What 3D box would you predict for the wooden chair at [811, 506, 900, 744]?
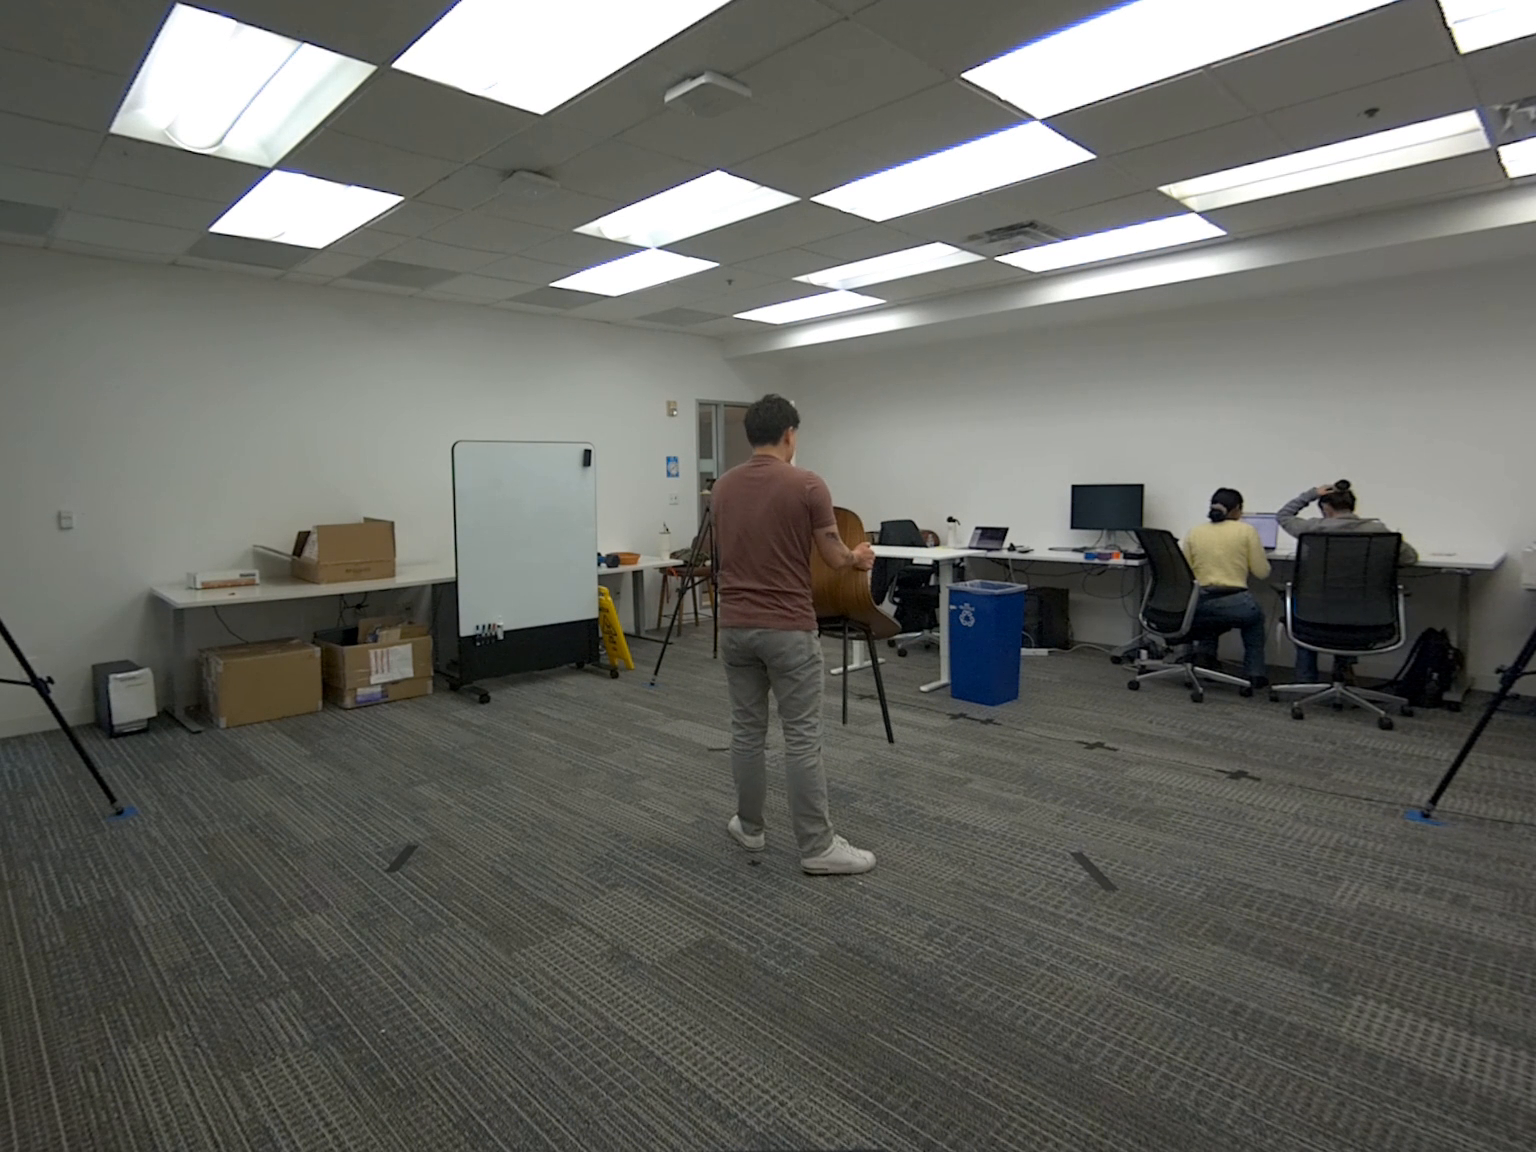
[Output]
[{"bbox_3d":[0.265,0.205,3.500,0.490,0.887,0.504,-4,-17,34],"label":"wooden chair"}]
